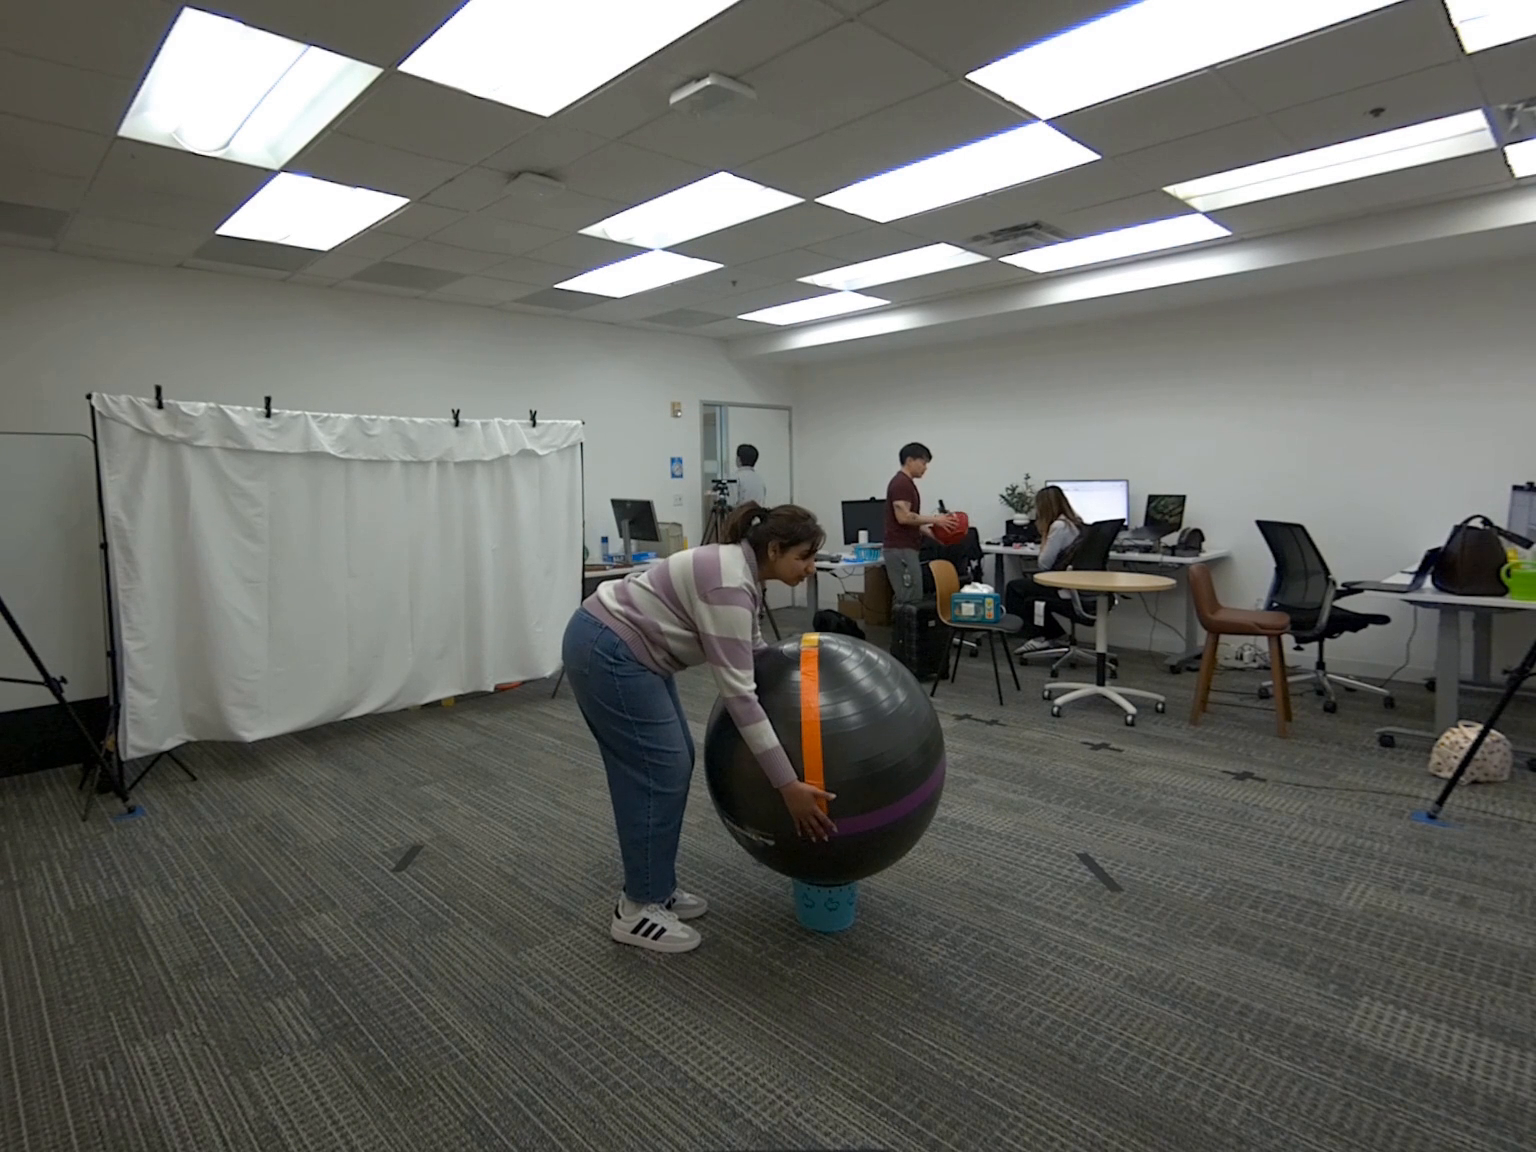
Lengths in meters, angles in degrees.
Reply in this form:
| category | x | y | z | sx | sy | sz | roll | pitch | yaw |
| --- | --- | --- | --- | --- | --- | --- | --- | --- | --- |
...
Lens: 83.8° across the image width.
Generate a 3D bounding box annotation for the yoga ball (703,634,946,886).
| category | x | y | z | sx | sy | sz | roll | pitch | yaw |
| --- | --- | --- | --- | --- | --- | --- | --- | --- | --- |
| yoga ball | 0.177 | 0.561 | 2.698 | 0.757 | 0.755 | 0.762 | -1 | 5 | -2 |
